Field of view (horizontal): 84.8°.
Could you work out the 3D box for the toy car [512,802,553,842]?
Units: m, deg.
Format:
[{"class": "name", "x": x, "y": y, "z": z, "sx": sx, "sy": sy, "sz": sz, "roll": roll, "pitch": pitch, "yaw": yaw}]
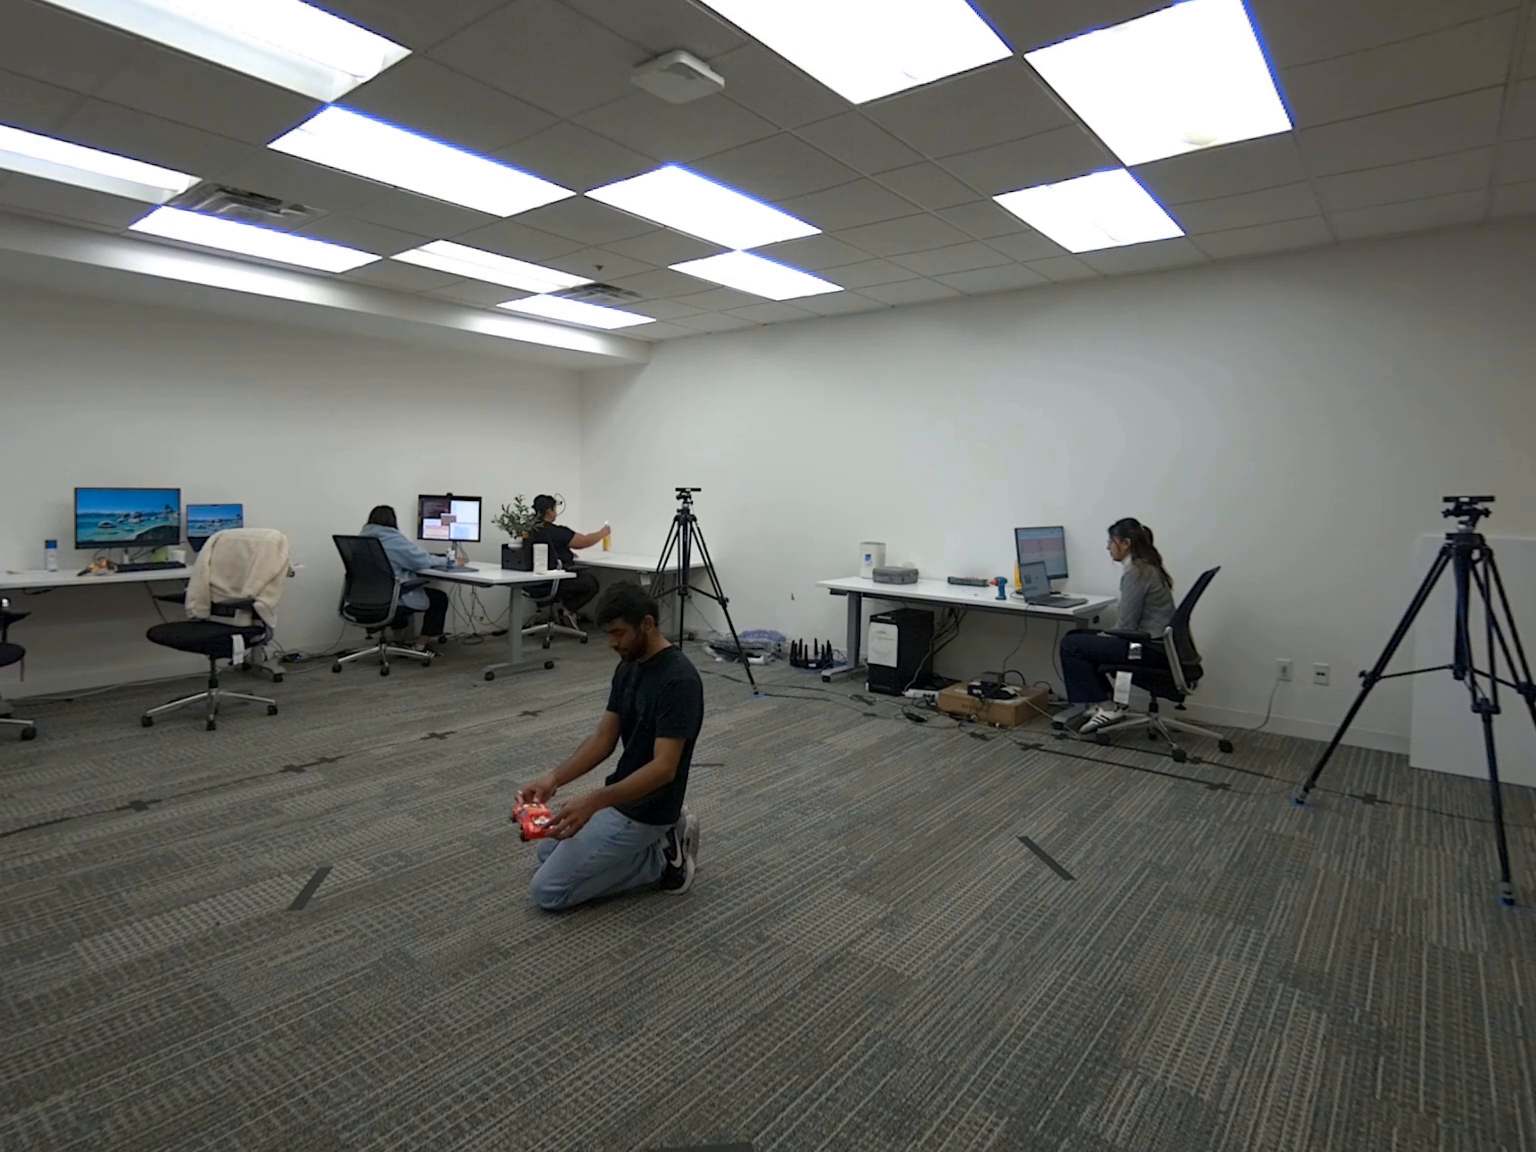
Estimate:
[{"class": "toy car", "x": -0.718, "y": 0.745, "z": 2.594, "sx": 0.127, "sy": 0.084, "sz": 0.259, "roll": -1, "pitch": -4, "yaw": -25}]
